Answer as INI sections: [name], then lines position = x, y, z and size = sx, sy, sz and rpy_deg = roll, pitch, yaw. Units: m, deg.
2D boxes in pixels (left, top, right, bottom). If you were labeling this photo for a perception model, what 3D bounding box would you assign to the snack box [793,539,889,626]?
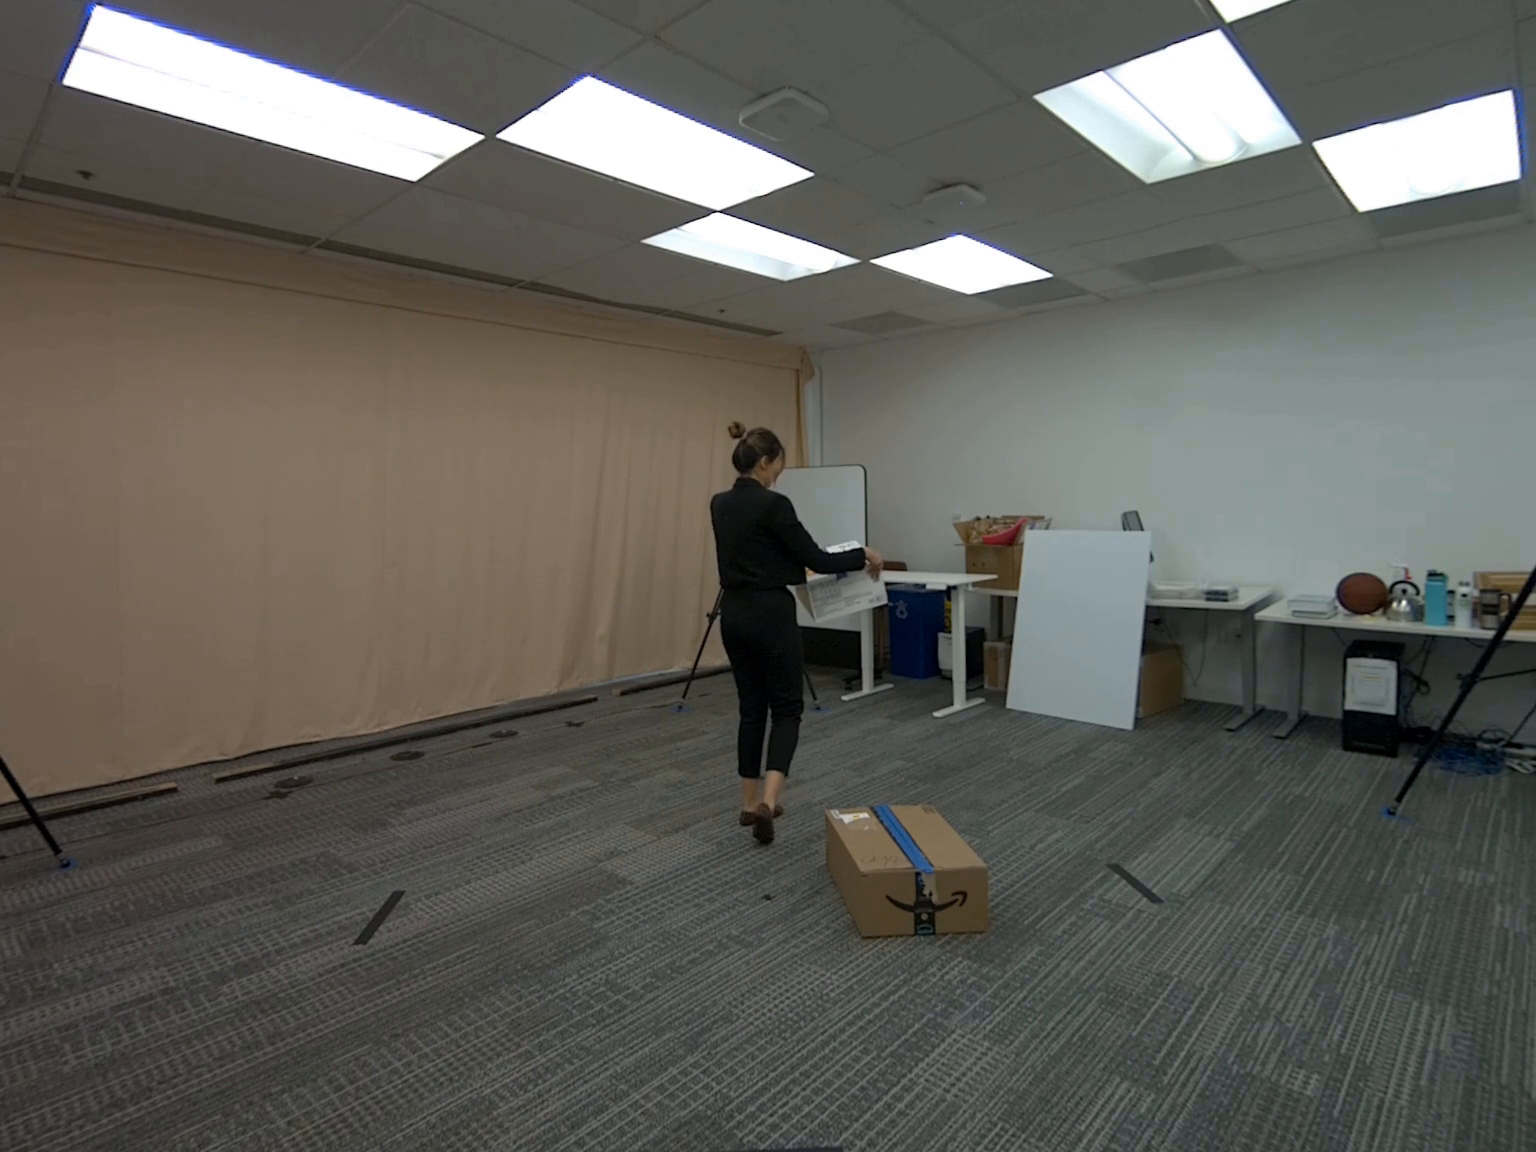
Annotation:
[snack box]
position = 0.304, 0.019, 3.878
size = 0.339, 0.203, 0.412
rpy_deg = -17, 17, -4
